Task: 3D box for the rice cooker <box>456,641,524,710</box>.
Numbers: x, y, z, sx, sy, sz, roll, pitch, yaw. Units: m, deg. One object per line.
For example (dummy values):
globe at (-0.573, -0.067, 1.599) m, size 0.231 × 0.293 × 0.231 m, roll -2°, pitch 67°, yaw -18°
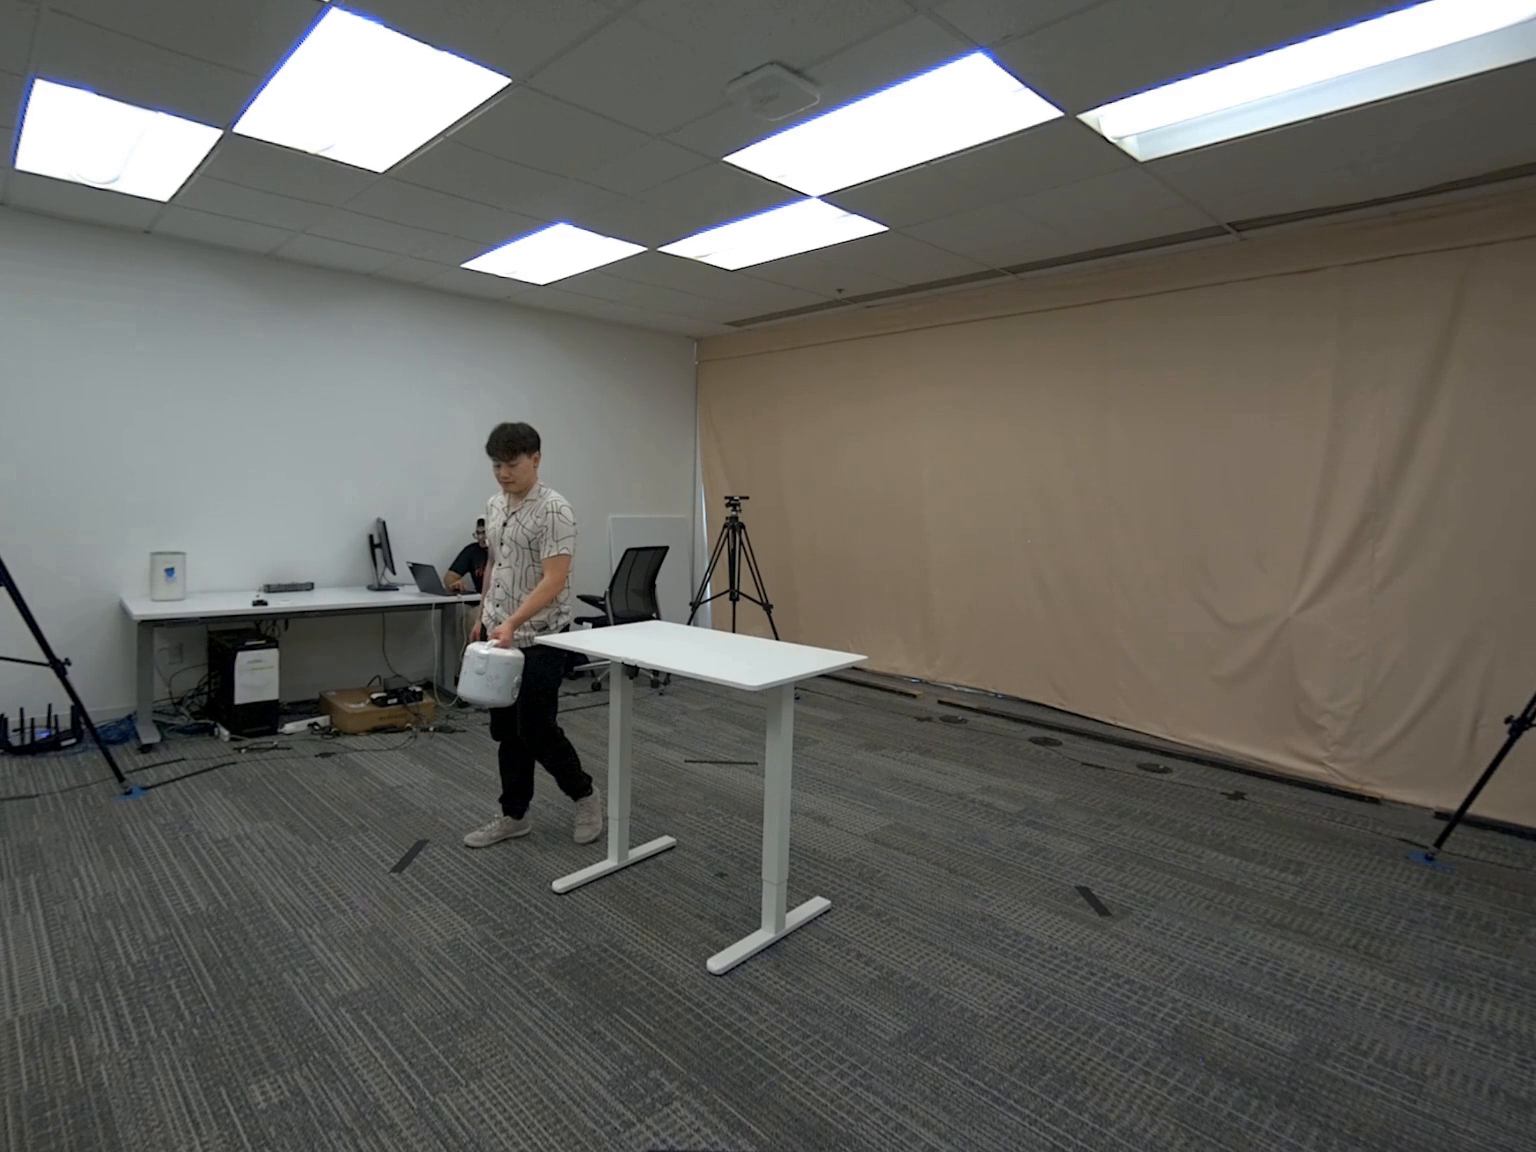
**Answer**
rice cooker at (-0.996, 0.338, 3.043) m, size 0.219 × 0.233 × 0.218 m, roll 9°, pitch -3°, yaw 9°
